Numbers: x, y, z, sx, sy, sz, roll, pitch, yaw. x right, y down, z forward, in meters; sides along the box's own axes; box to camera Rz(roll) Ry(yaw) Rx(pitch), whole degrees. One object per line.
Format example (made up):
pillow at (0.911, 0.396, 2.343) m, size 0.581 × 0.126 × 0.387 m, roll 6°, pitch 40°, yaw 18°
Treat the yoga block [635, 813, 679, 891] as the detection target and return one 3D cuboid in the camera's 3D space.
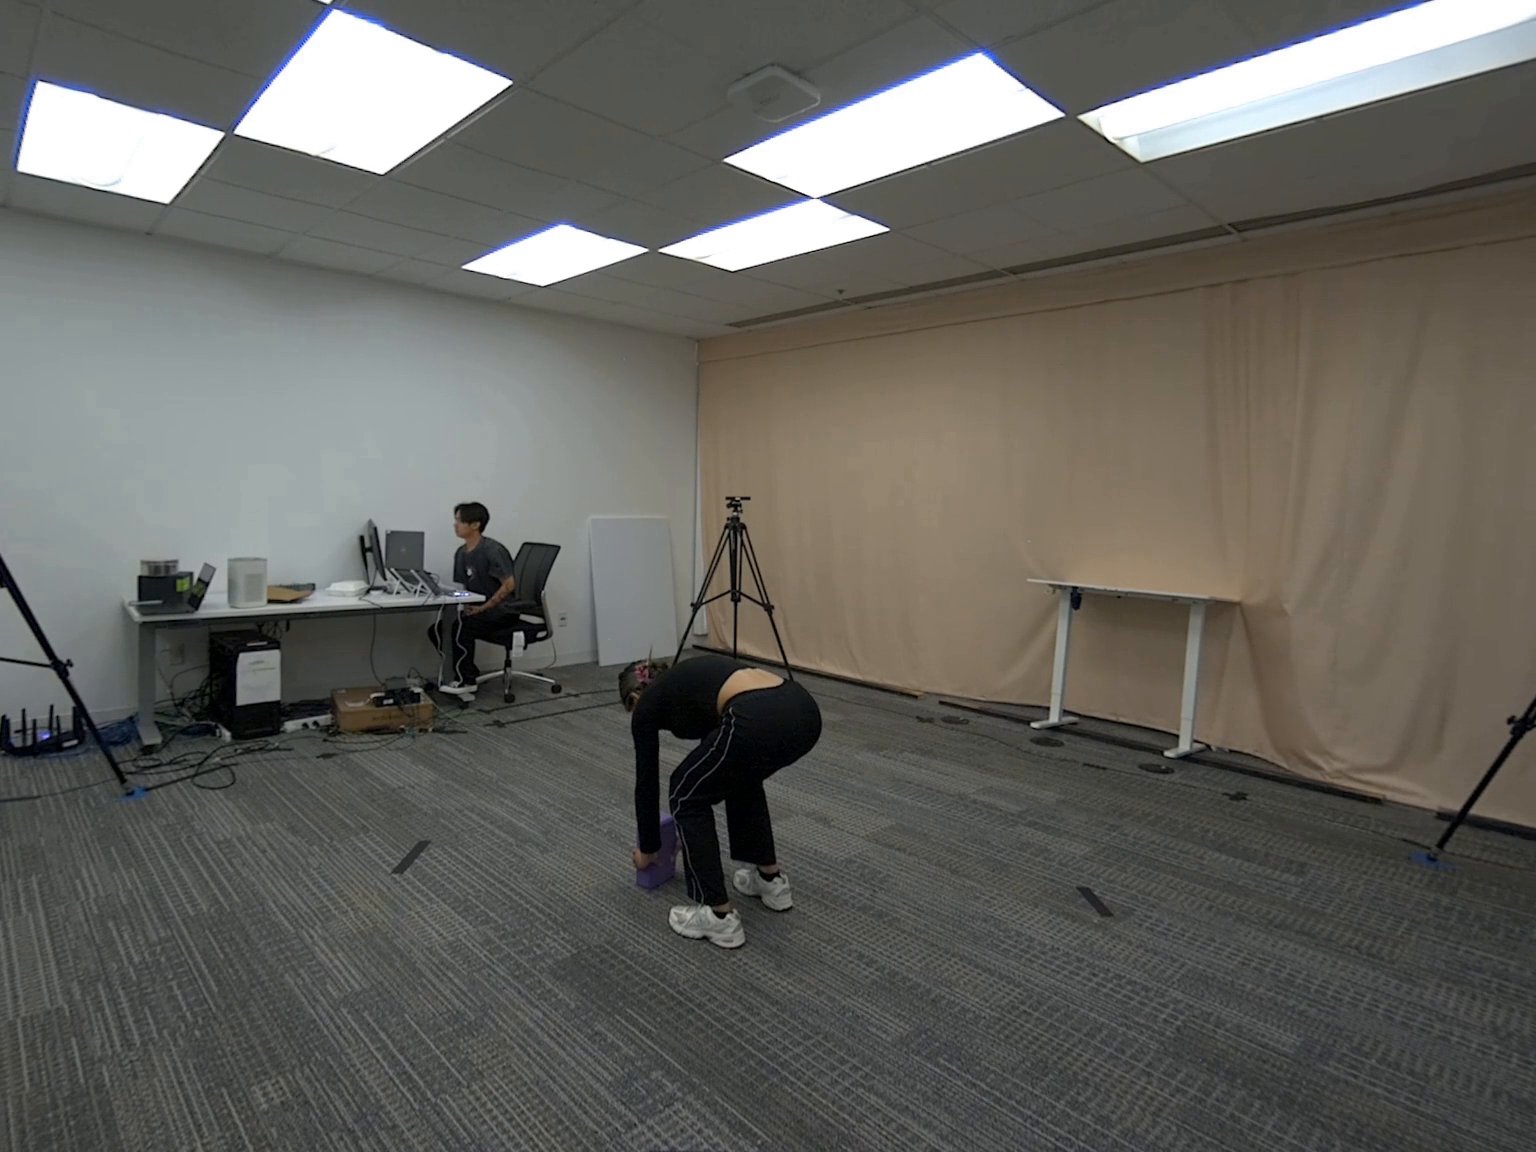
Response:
yoga block at (-0.405, 0.992, 3.045) m, size 0.078 × 0.229 × 0.146 m, roll -1°, pitch 2°, yaw 30°
